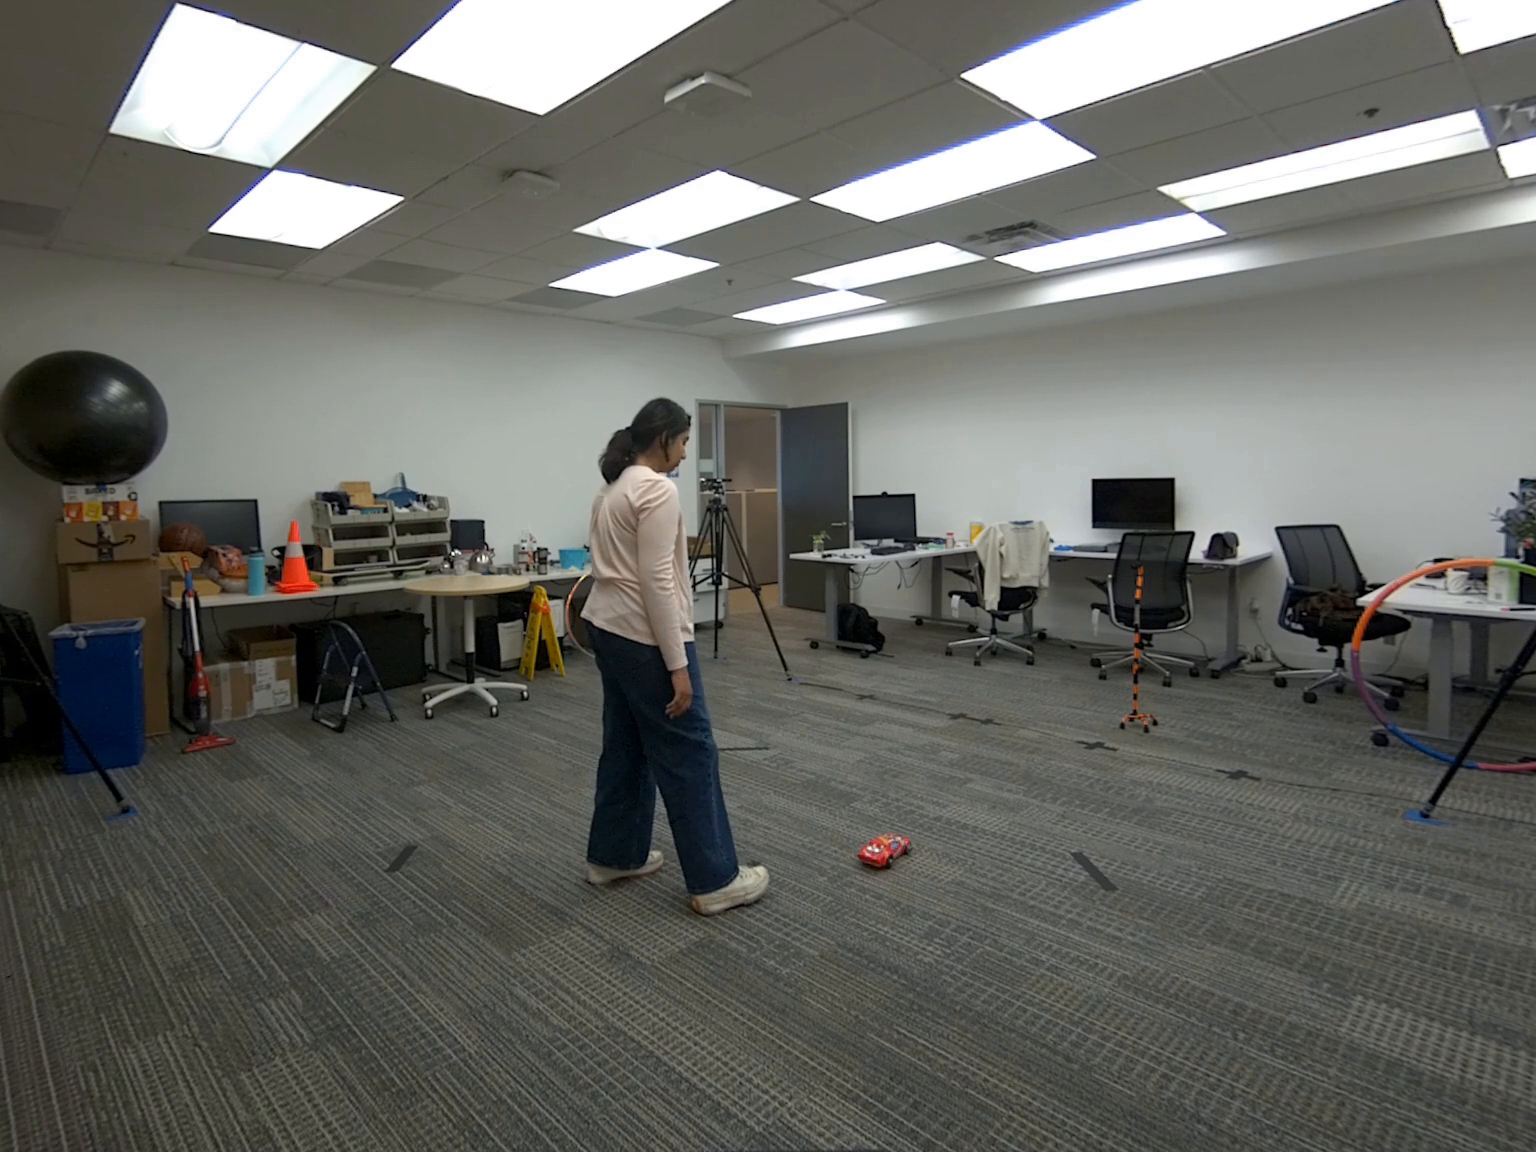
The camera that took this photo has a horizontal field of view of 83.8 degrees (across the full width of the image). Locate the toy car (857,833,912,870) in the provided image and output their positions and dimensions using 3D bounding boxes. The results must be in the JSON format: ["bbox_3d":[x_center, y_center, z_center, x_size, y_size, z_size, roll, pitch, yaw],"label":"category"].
[{"bbox_3d":[0.427,1.003,3.116,0.134,0.083,0.246,3,-4,38],"label":"toy car"}]
